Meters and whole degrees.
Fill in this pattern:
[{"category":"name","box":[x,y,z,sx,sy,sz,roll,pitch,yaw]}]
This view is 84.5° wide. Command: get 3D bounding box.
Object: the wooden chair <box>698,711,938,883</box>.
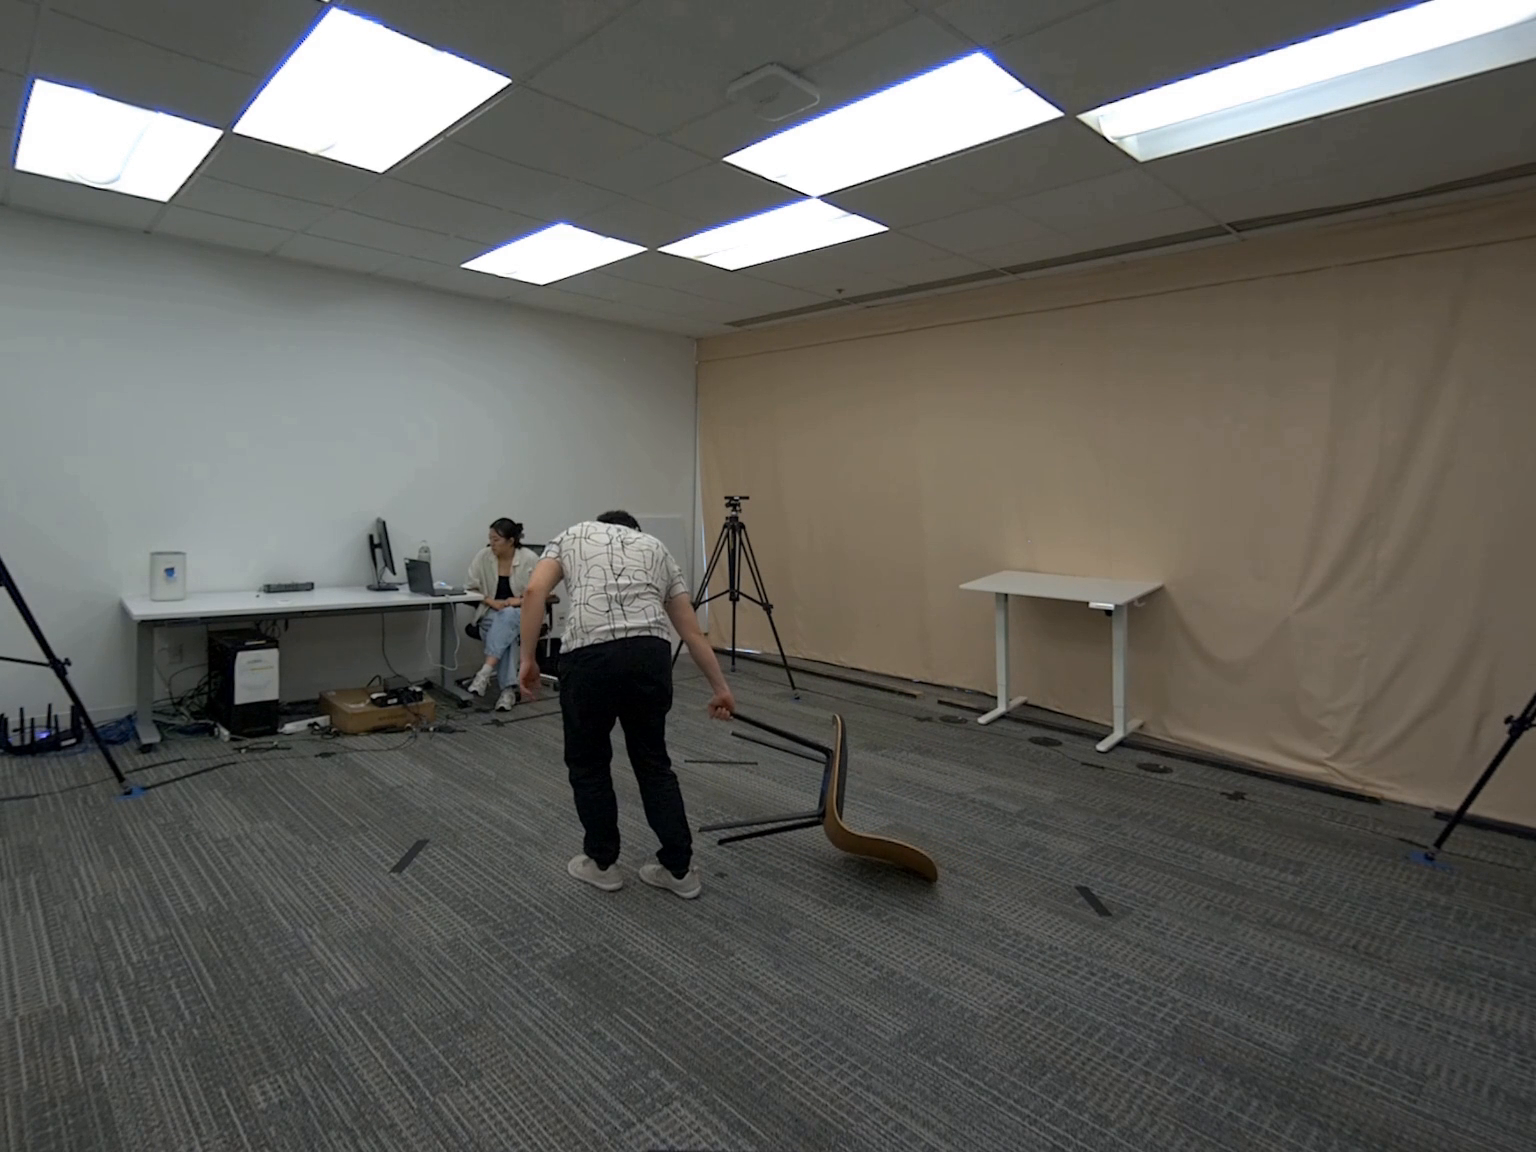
[{"category":"wooden chair","box":[0.217,0.809,3.201,0.887,0.529,0.467,8,-22,12]}]
